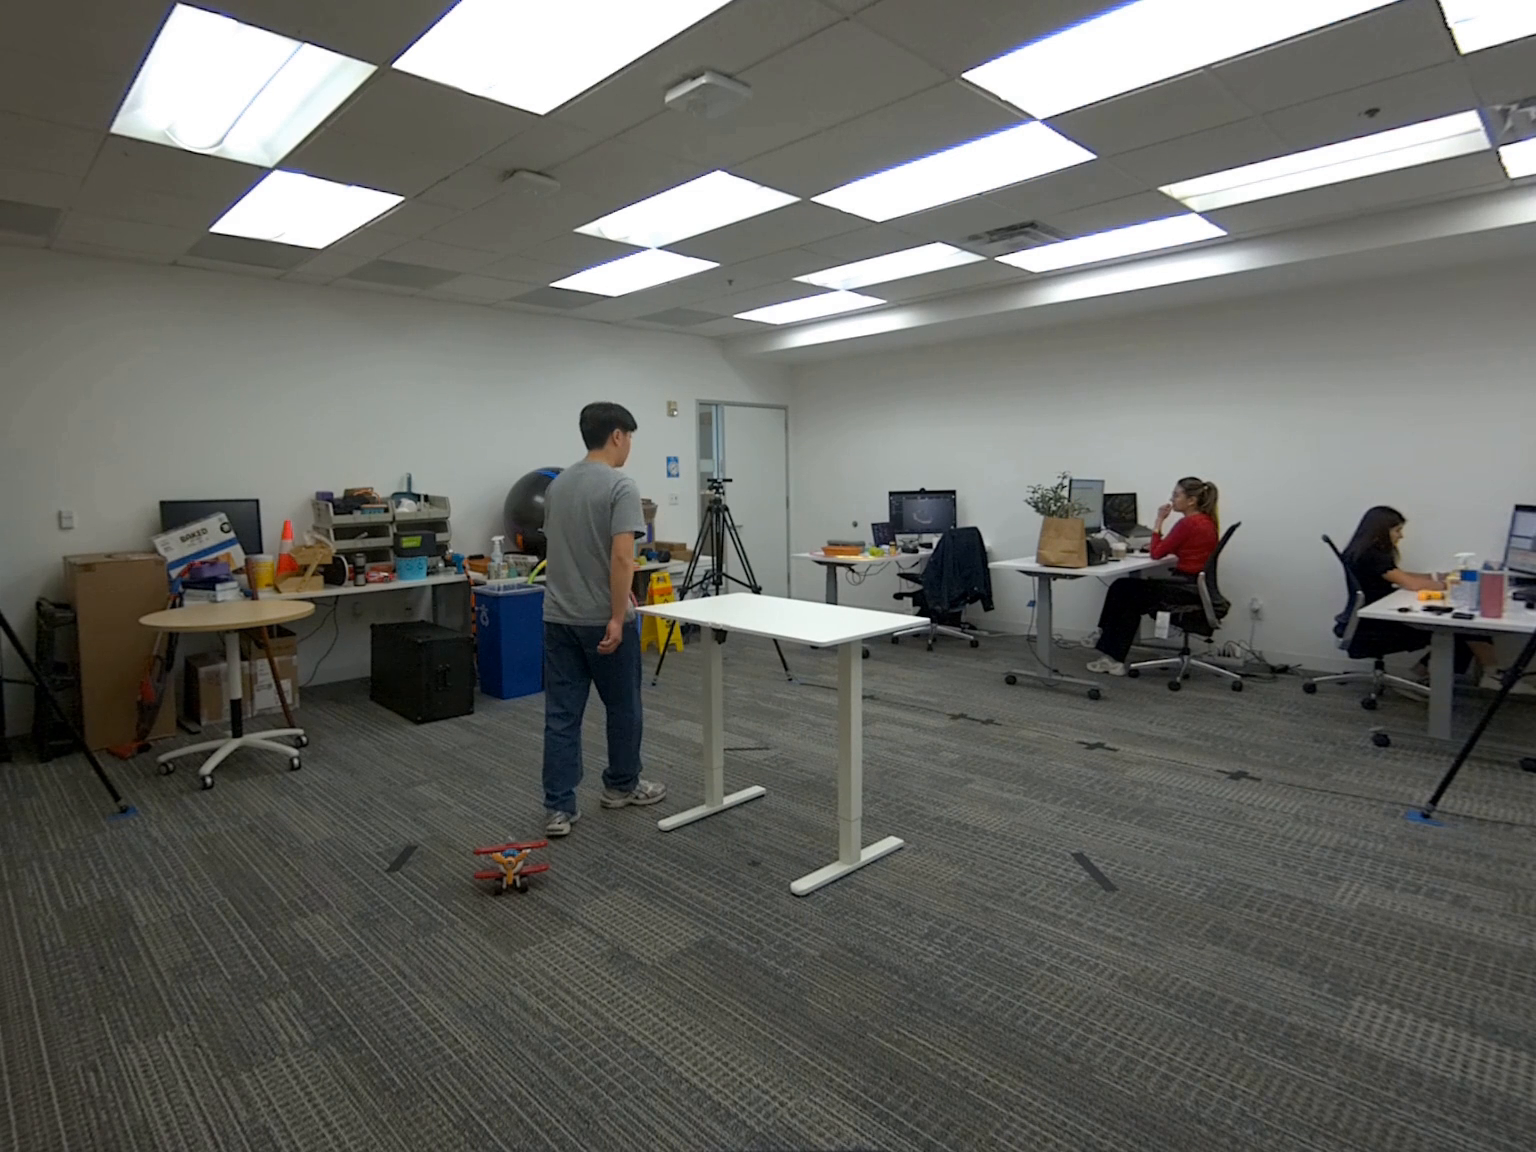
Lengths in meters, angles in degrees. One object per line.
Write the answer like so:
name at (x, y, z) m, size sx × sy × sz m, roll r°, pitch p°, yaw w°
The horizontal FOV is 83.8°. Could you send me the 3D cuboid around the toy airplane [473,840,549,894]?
toy airplane at (-0.924, 1.007, 2.996) m, size 0.244 × 0.155 × 0.267 m, roll -7°, pitch 9°, yaw -41°
